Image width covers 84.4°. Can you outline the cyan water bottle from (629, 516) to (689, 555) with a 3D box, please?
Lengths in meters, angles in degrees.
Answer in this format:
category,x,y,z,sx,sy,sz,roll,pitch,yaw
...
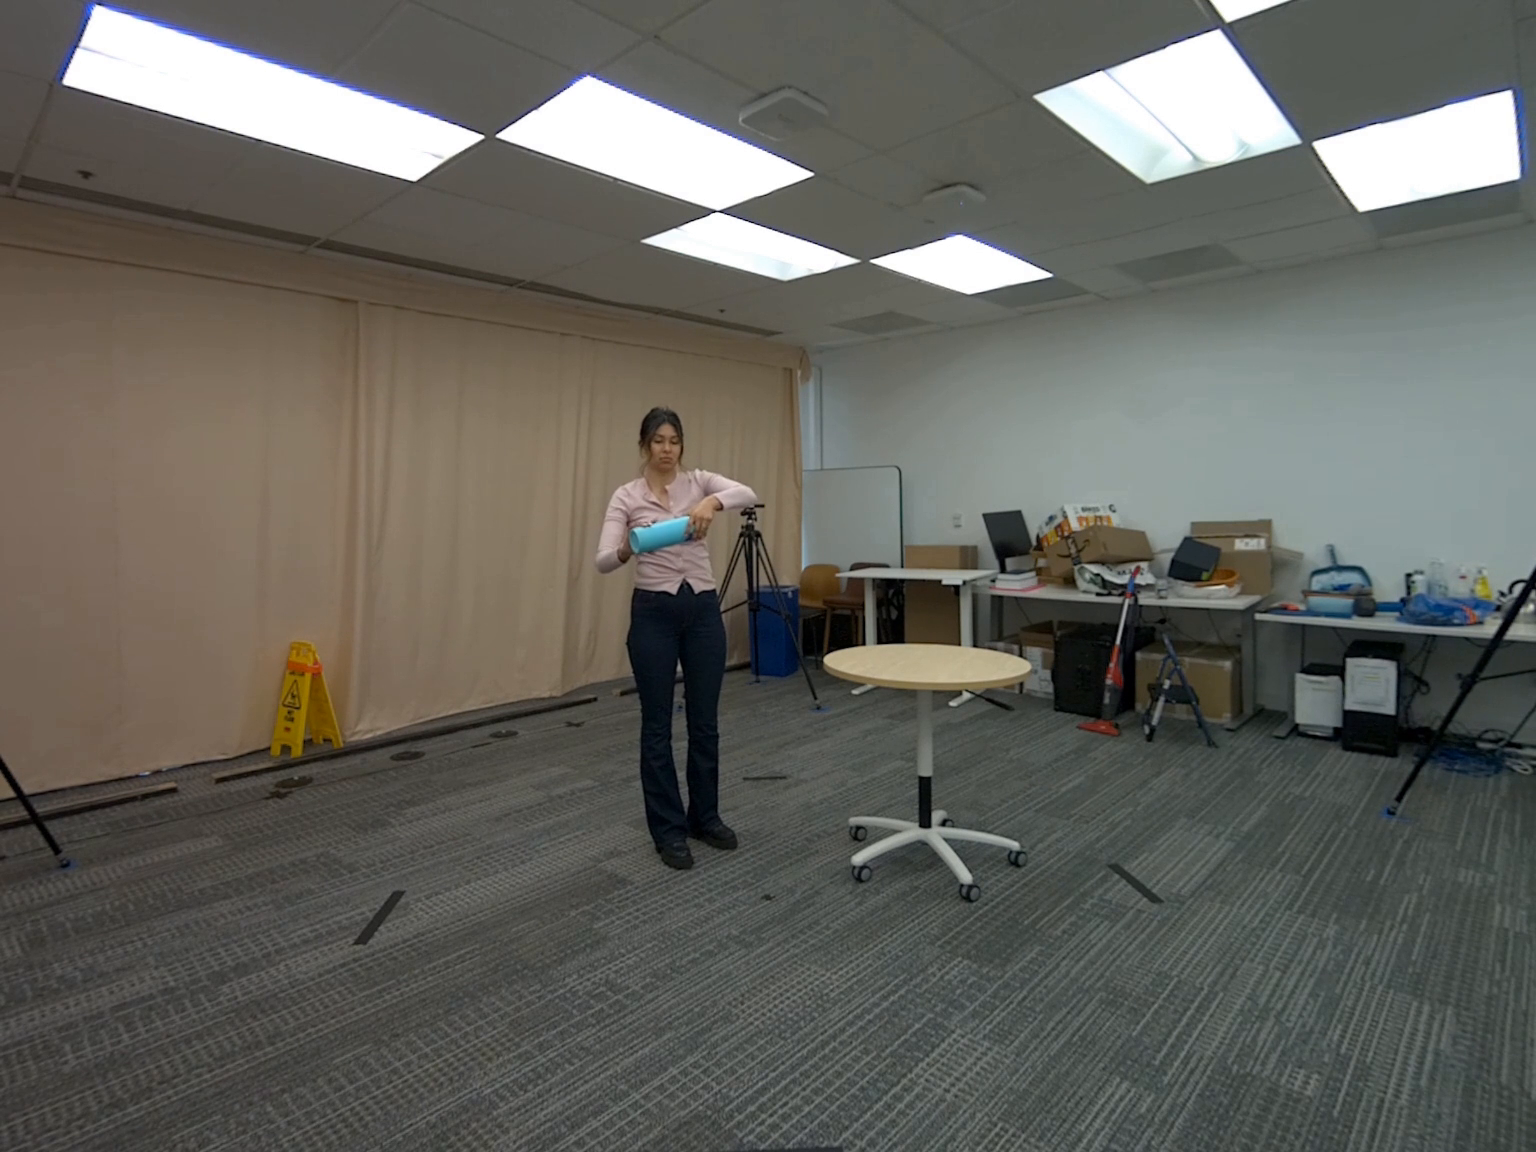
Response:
category,x,y,z,sx,sy,sz,roll,pitch,yaw
cyan water bottle,-0.335,-0.142,2.905,0.277,0.092,0.095,-14,10,-27
